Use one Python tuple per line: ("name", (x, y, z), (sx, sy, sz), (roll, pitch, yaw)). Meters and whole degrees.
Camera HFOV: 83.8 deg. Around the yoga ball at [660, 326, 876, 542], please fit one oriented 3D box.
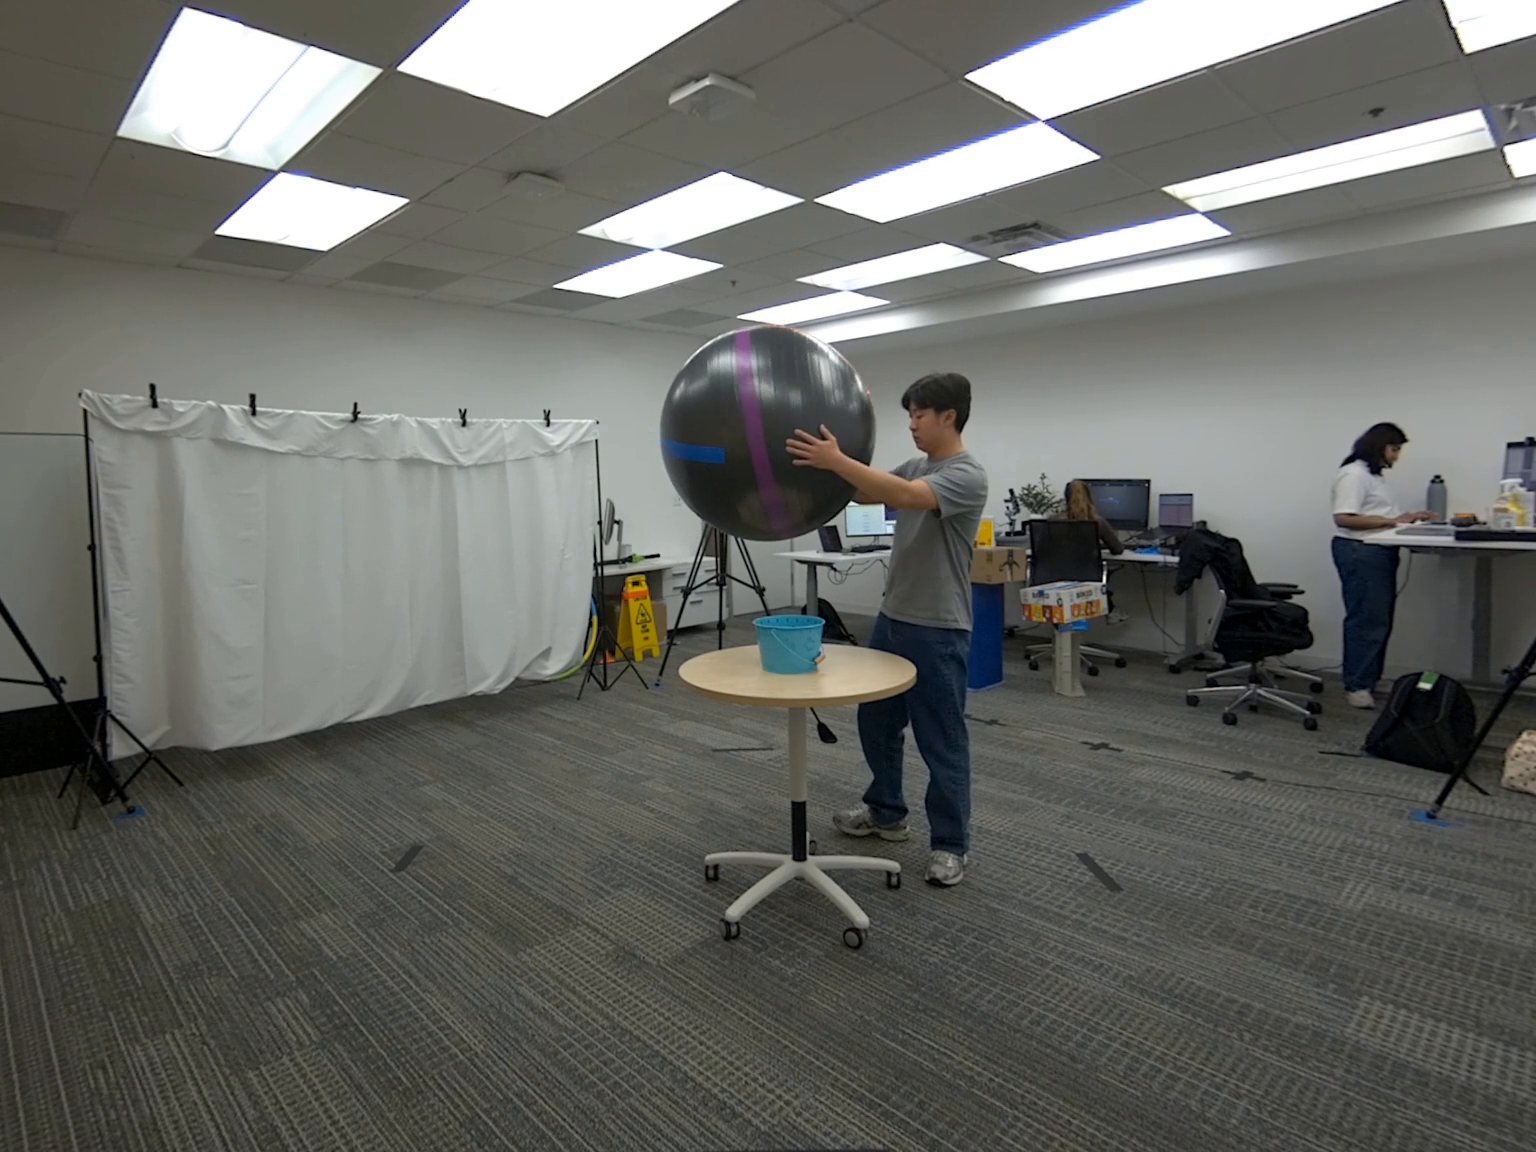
("yoga ball", (-0.009, -0.504, 3.041), (0.757, 0.755, 0.762), (-1, 5, -2))
